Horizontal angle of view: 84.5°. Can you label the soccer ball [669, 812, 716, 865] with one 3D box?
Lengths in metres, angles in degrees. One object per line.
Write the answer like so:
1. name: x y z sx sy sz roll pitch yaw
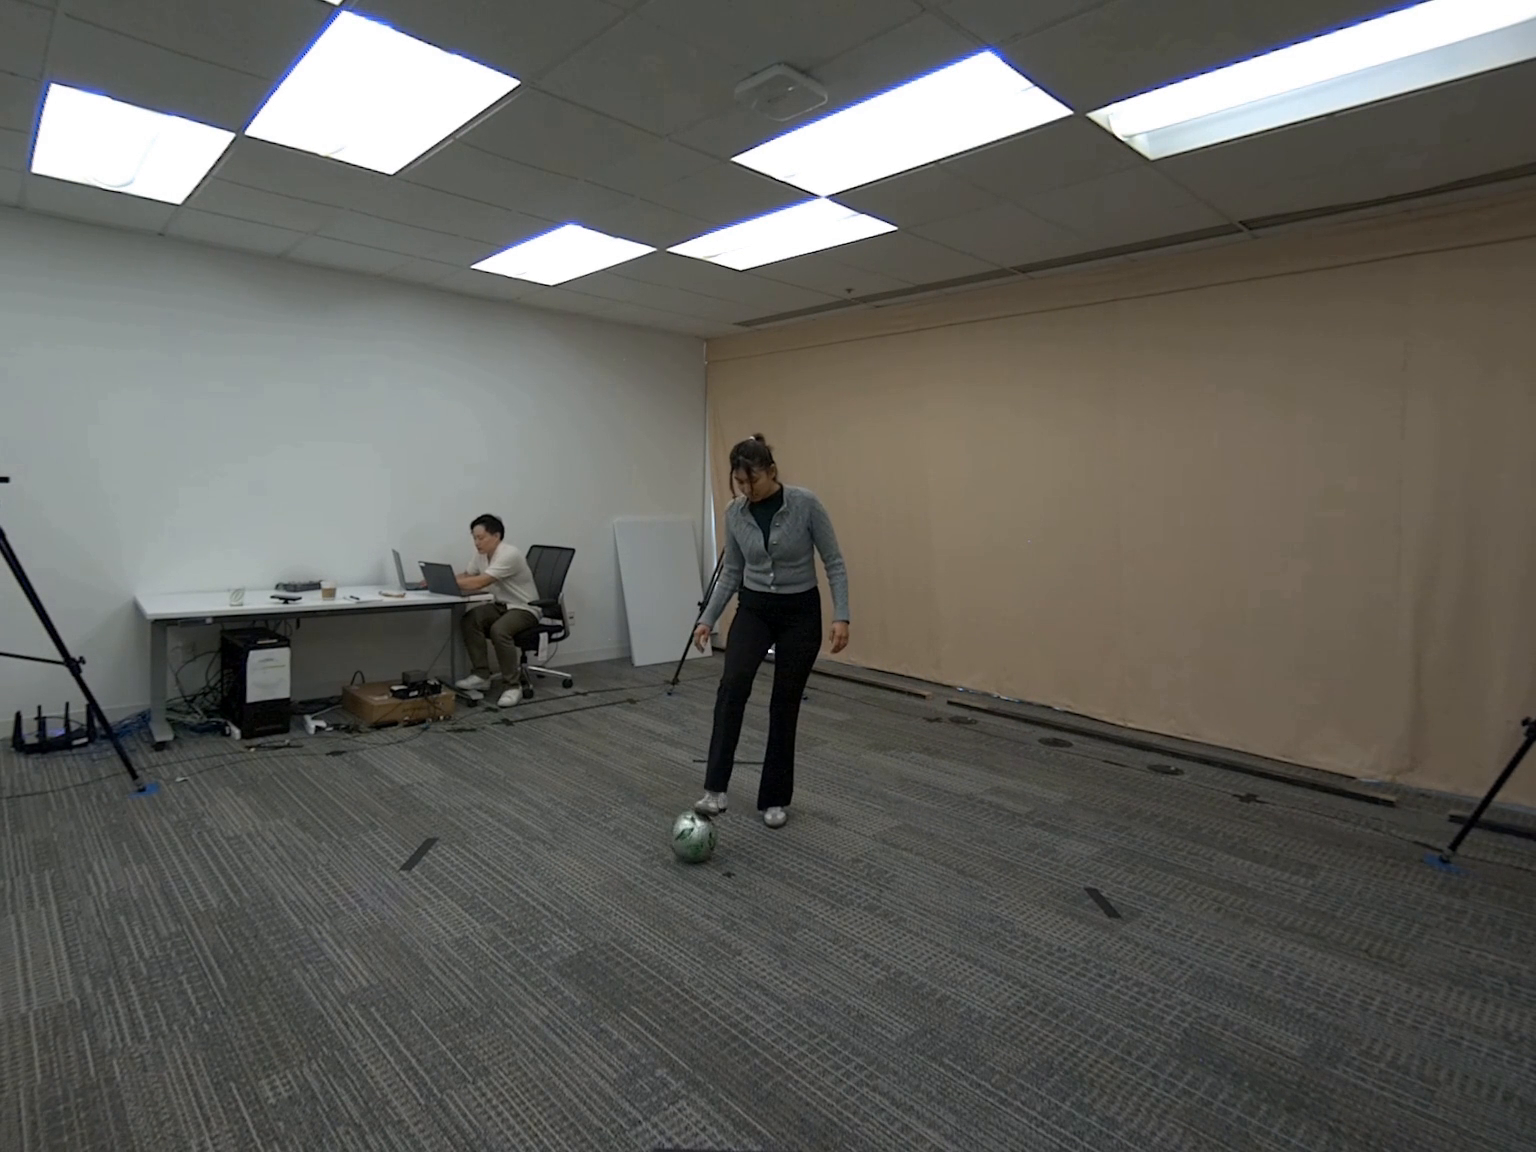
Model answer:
1. soccer ball: -0.288 0.990 3.240 0.187 0.187 0.188 1 4 -1
